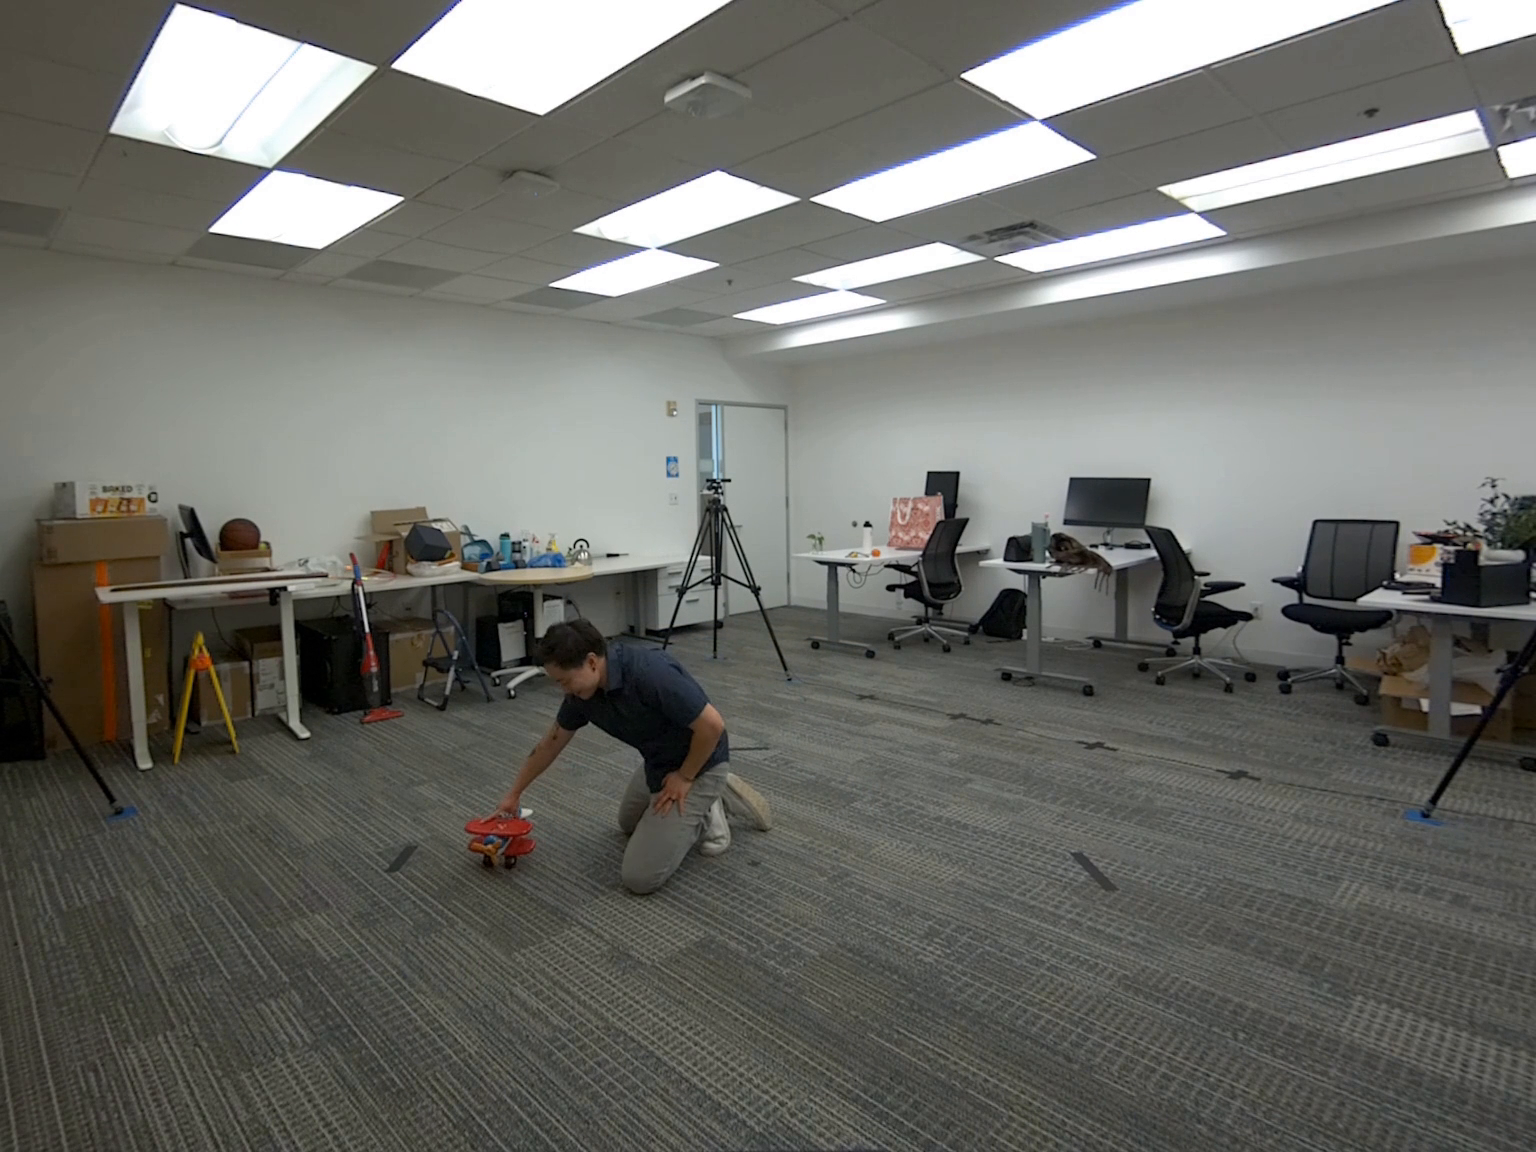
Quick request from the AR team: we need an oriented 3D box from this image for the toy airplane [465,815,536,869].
[{"bbox_3d":[-0.988,0.956,3.163,0.249,0.152,0.269,-16,33,-13],"label":"toy airplane"}]
